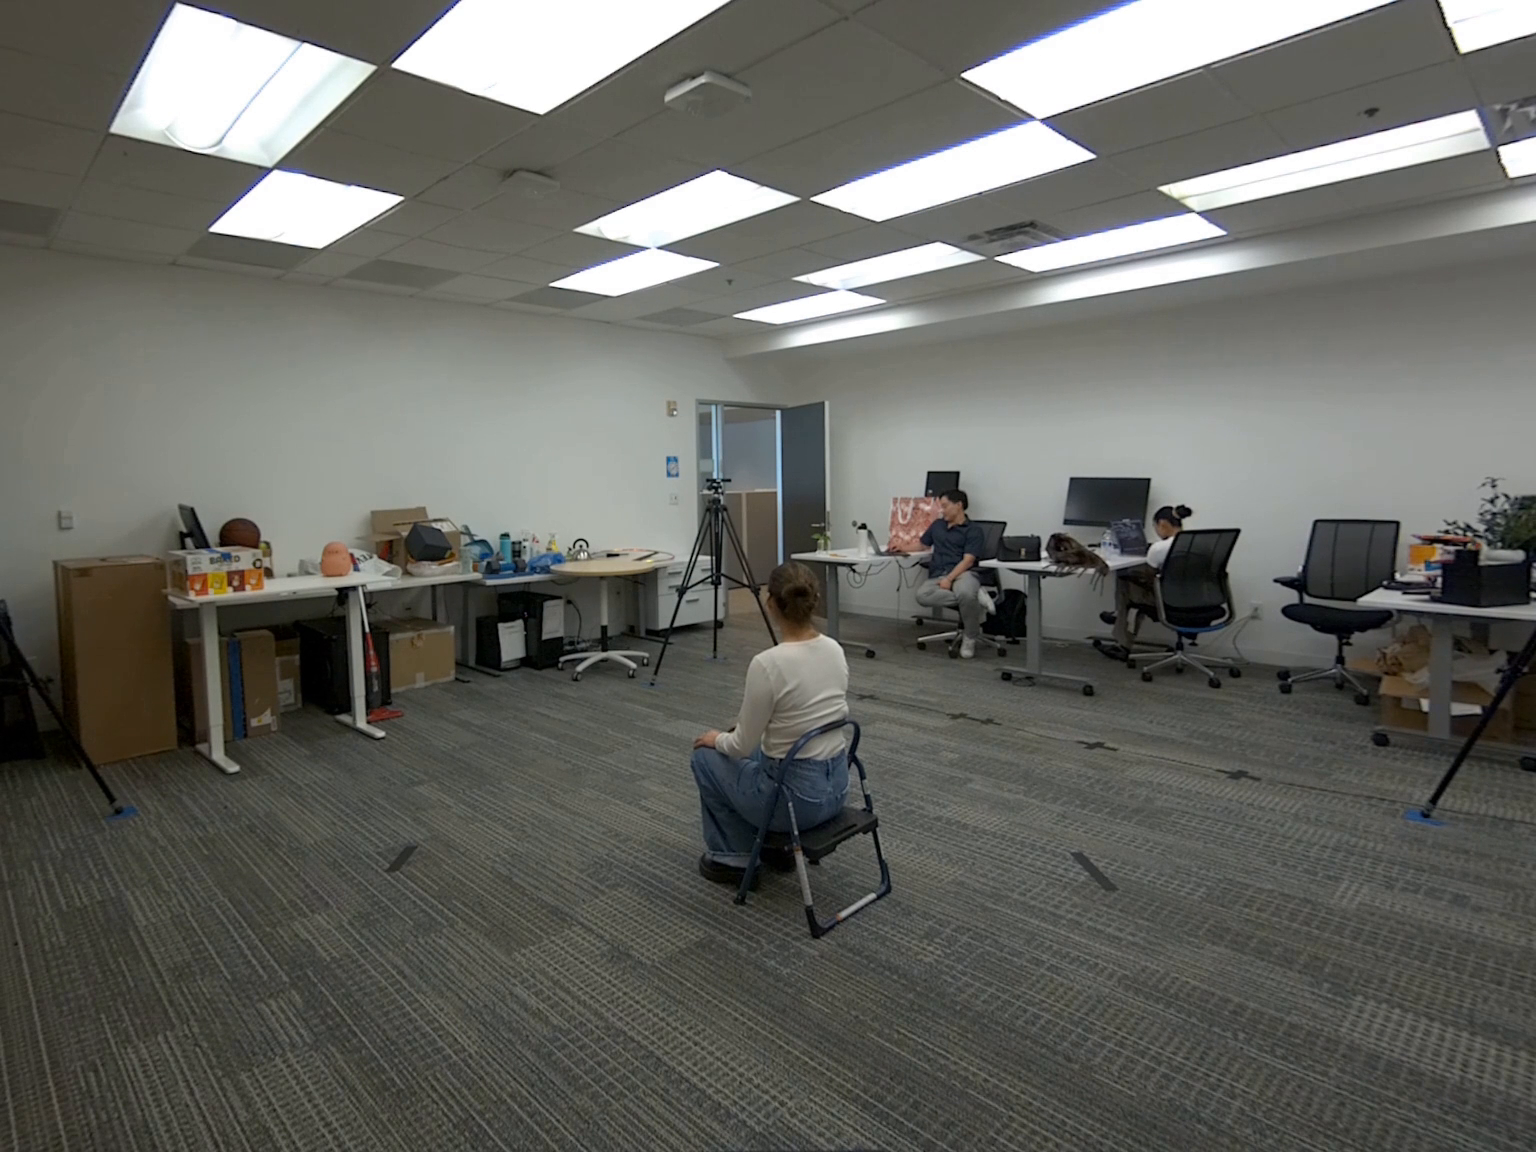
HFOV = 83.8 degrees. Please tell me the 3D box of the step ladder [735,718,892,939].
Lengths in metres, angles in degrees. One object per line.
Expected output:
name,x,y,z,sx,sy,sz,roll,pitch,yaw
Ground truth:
step ladder,0.154,0.768,2.827,0.360,0.604,0.419,3,6,42
